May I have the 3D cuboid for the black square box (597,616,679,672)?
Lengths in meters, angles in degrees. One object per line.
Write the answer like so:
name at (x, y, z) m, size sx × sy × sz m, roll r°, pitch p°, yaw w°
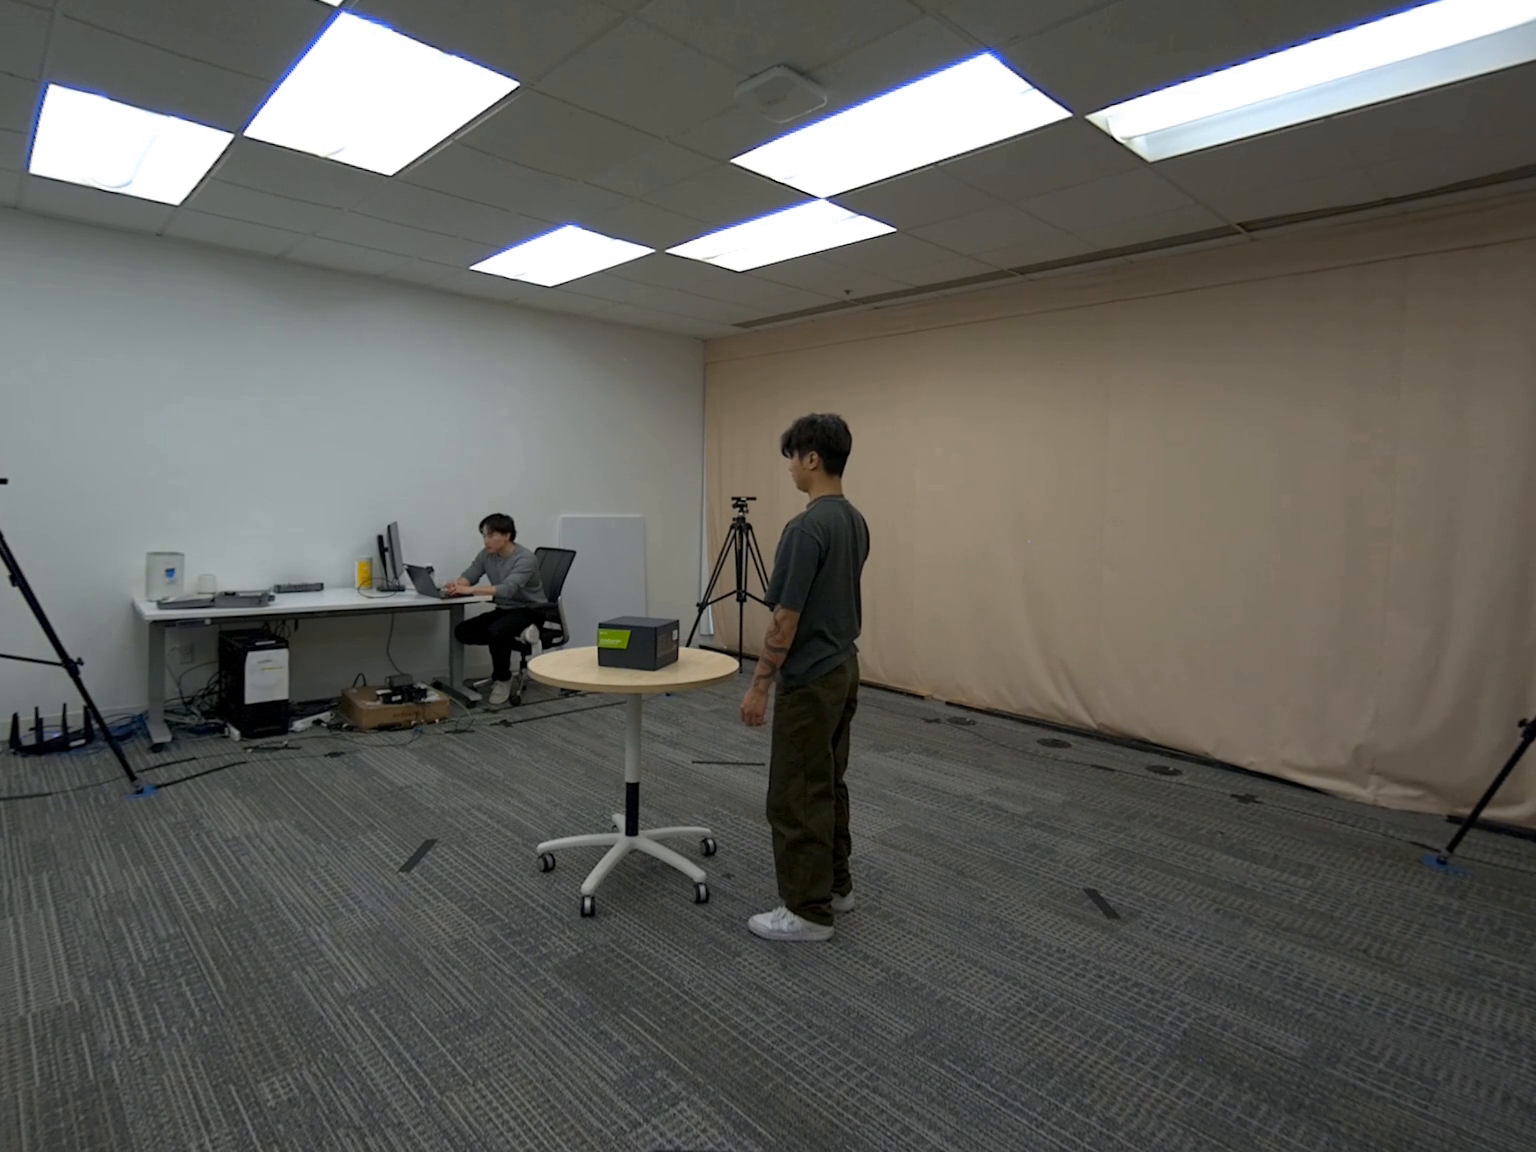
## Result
black square box at (-0.473, 0.236, 3.063) m, size 0.231 × 0.155 × 0.214 m, roll 2°, pitch 4°, yaw 18°
